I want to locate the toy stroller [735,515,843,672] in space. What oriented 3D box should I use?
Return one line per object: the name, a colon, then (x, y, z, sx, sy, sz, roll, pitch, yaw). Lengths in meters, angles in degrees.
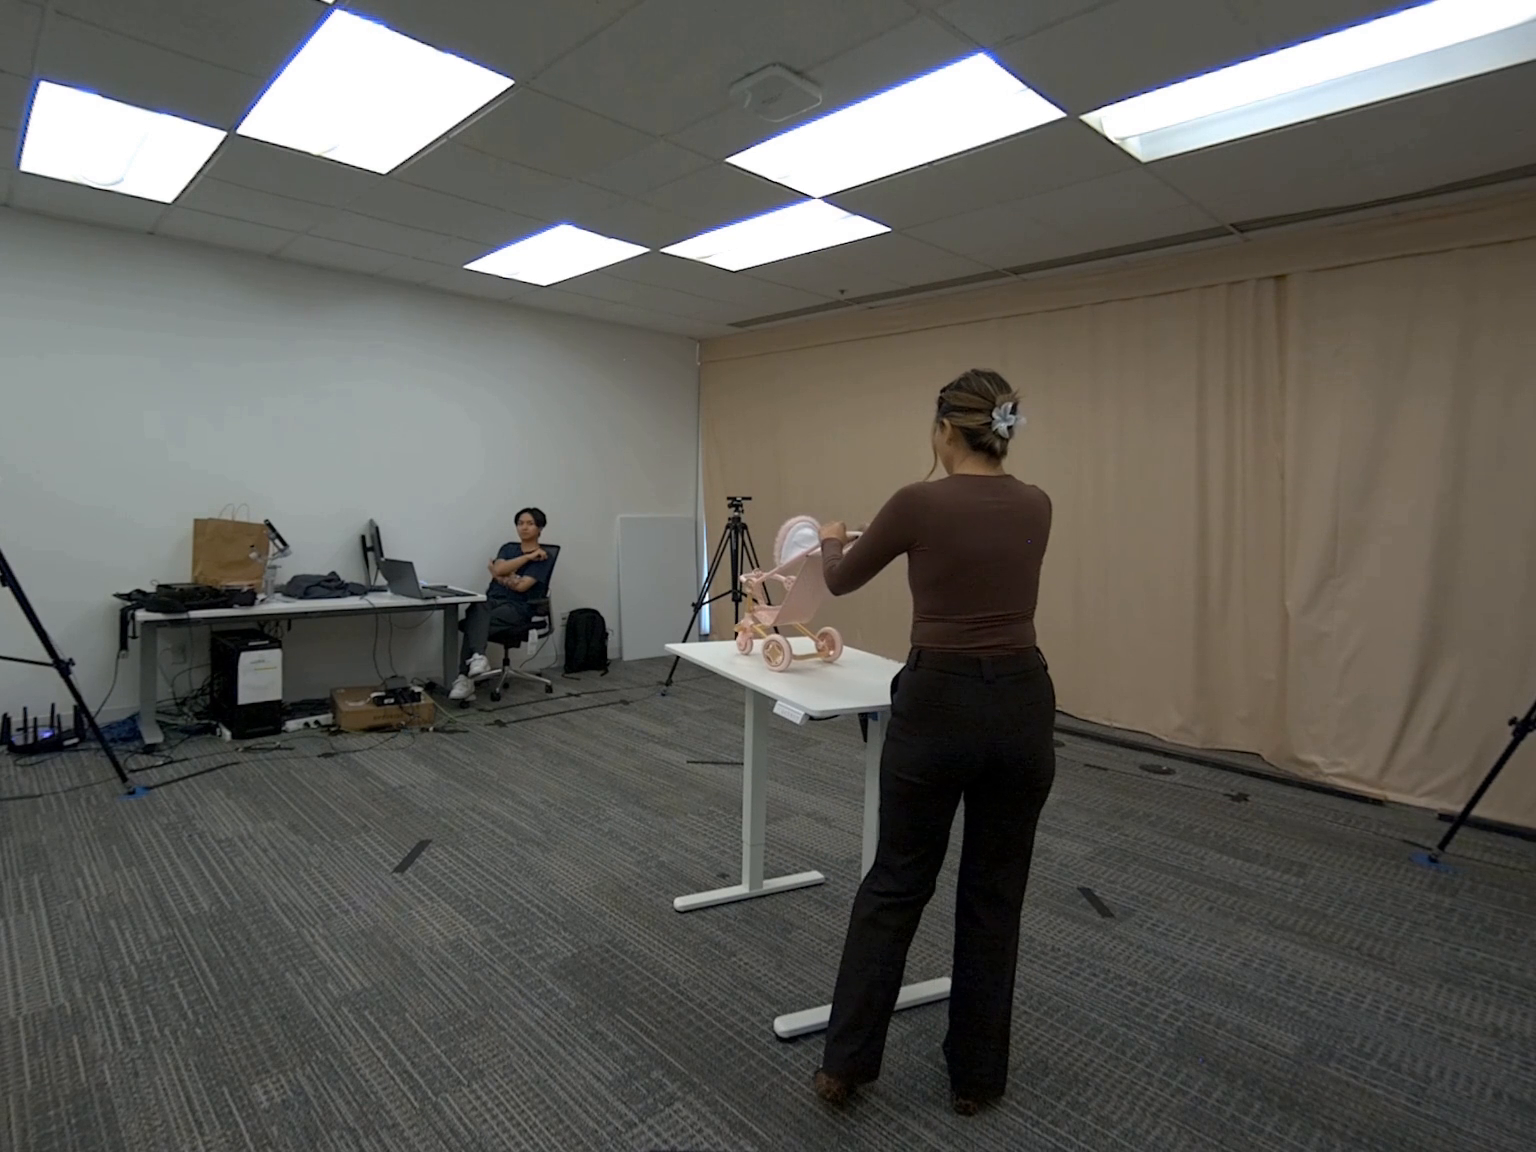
toy stroller: (0.072, 0.053, 2.605, 0.275, 0.531, 0.352, 1, 19, -43)
